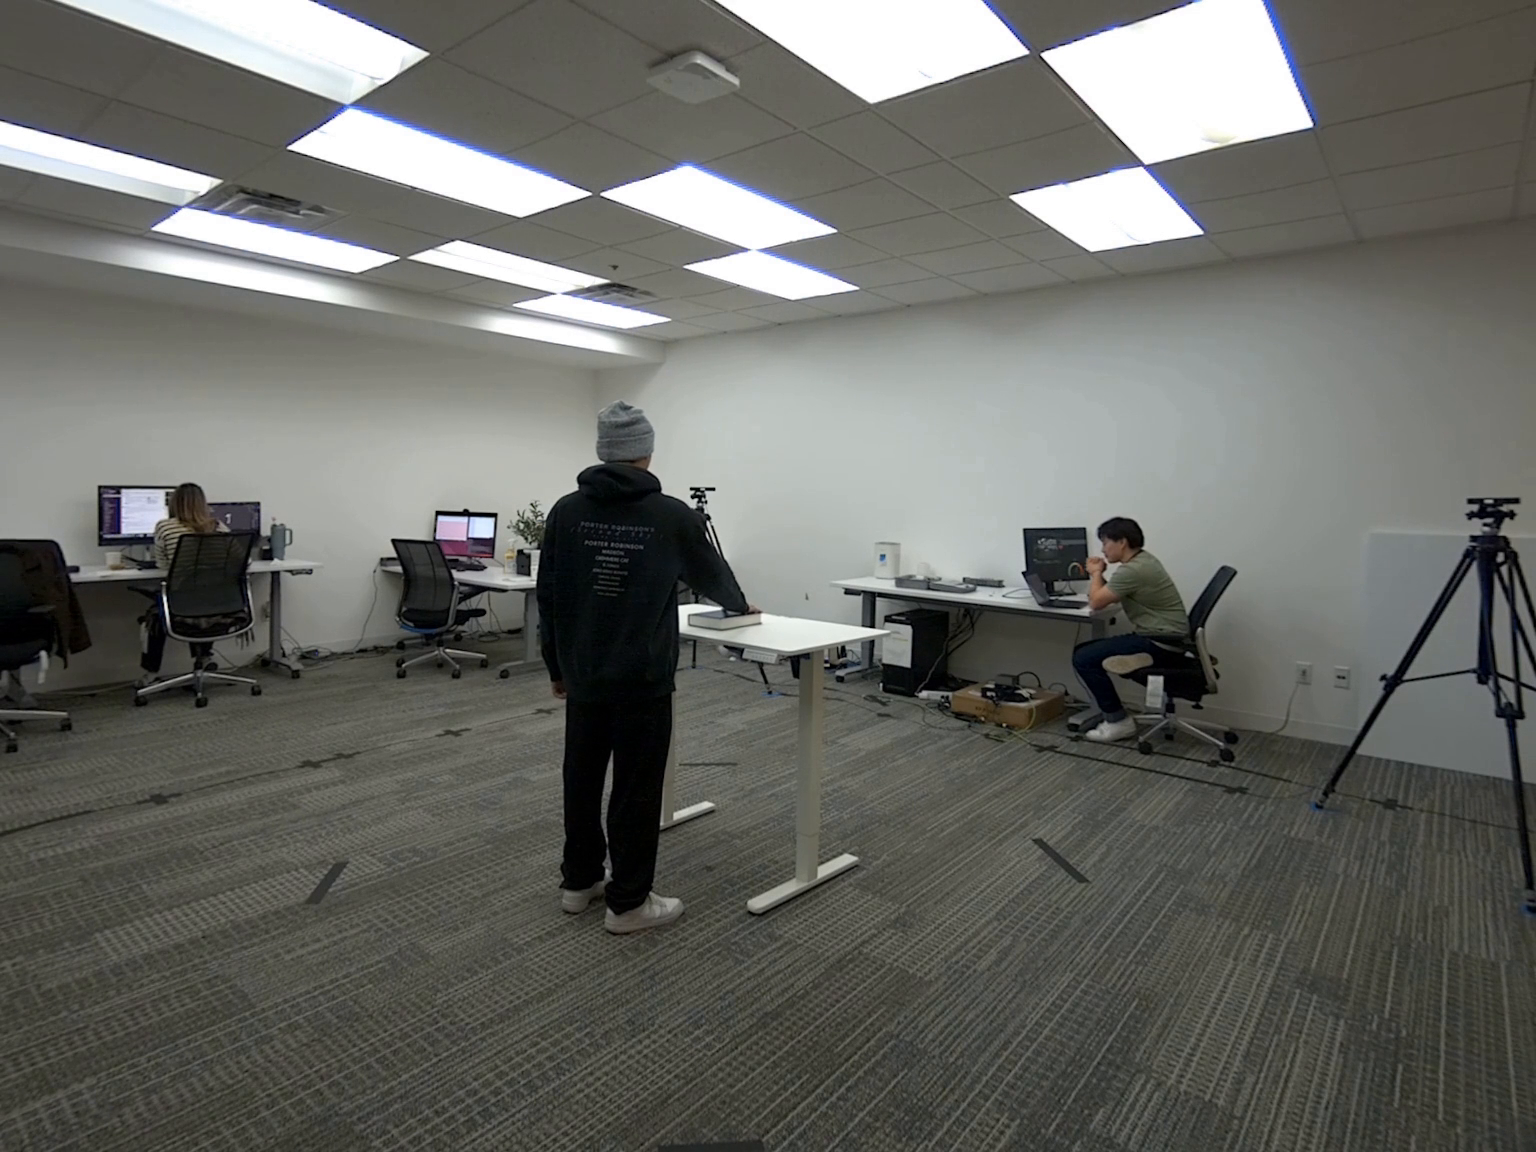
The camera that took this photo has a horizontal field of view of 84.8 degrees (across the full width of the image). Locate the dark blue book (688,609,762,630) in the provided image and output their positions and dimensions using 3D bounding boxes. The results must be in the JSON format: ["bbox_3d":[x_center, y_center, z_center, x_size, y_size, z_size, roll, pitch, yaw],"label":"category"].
[{"bbox_3d":[-0.167,0.162,3.163,0.169,0.045,0.238,5,6,38],"label":"dark blue book"}]
